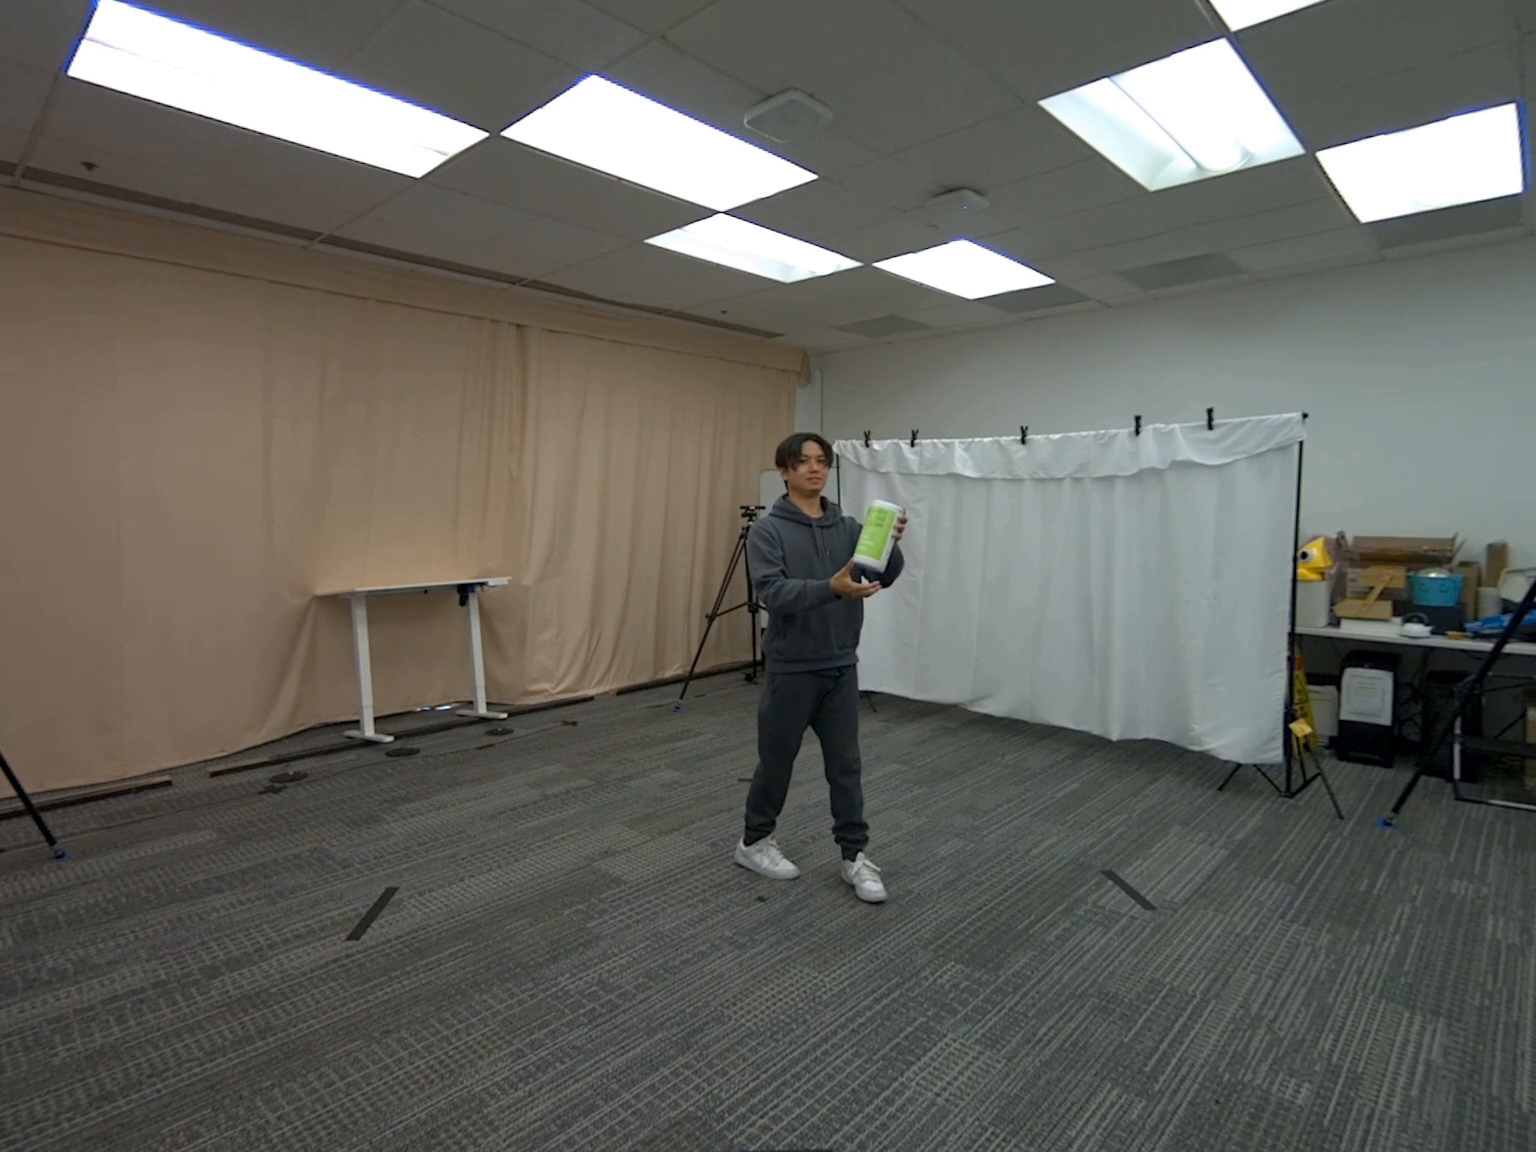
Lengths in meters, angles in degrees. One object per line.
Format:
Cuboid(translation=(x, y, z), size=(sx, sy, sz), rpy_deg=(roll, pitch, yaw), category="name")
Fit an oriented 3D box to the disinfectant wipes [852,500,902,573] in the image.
Cuboid(translation=(0.365, -0.129, 2.744), size=(0.118, 0.218, 0.117), rpy_deg=(18, -5, 0), category="disinfectant wipes")
